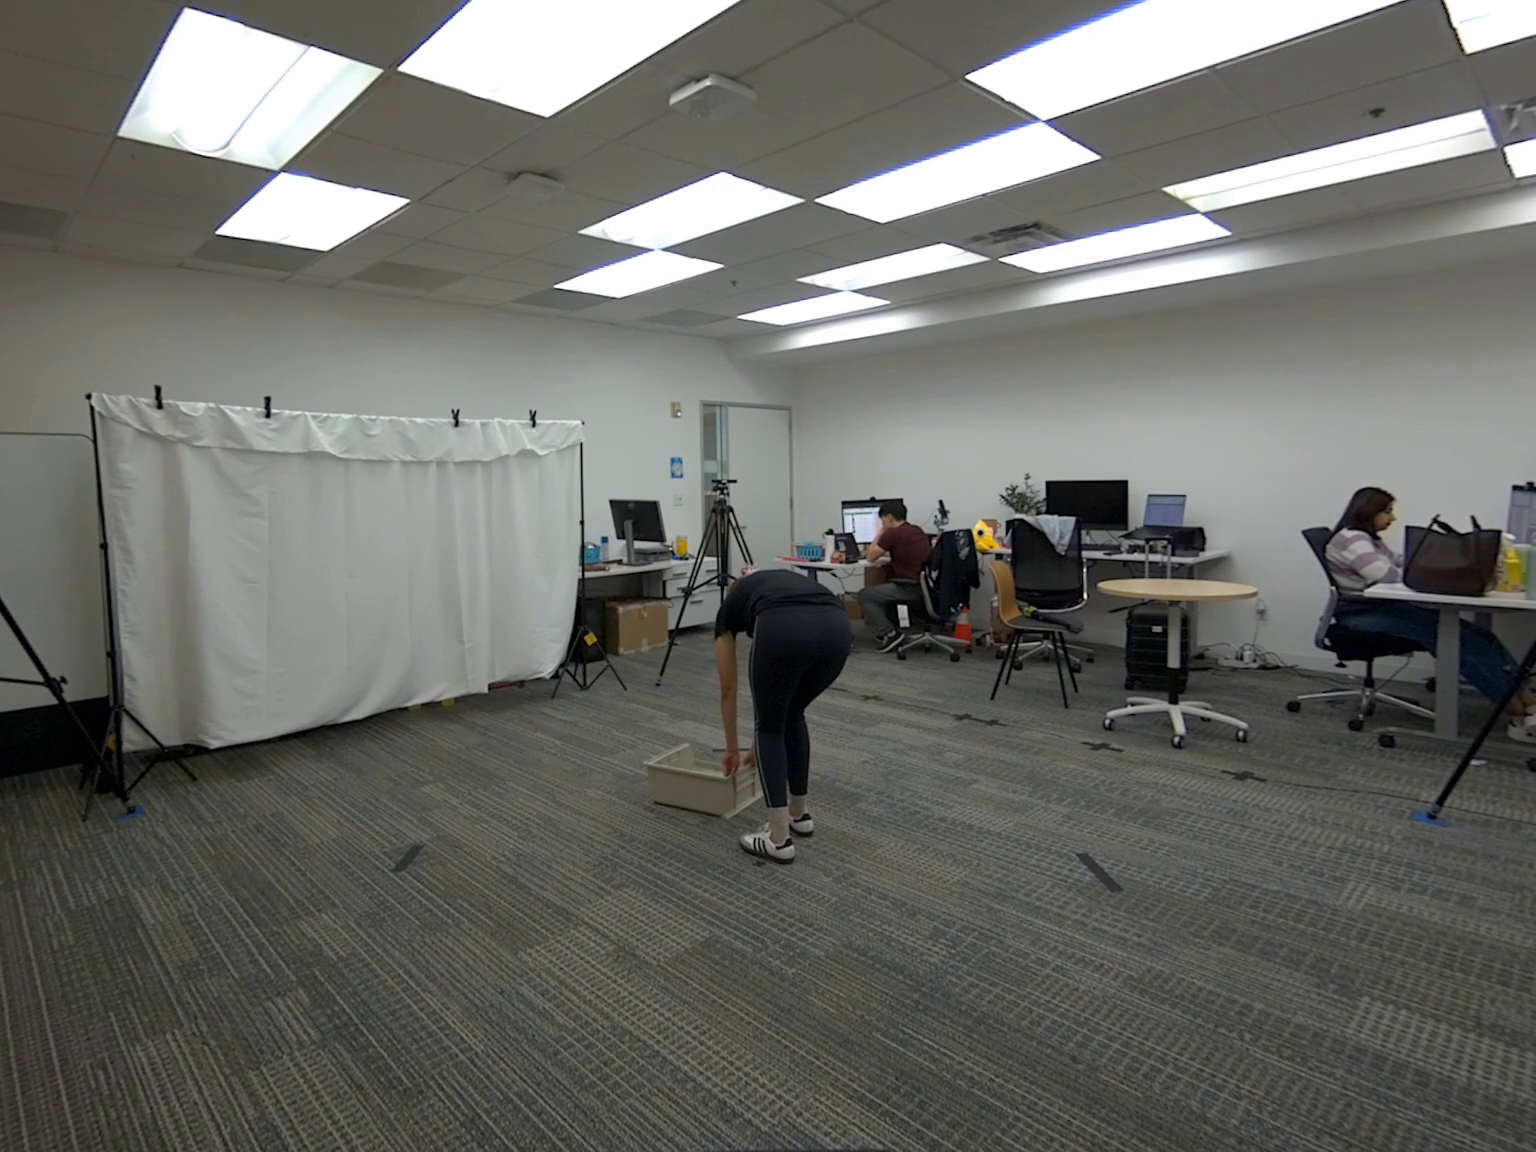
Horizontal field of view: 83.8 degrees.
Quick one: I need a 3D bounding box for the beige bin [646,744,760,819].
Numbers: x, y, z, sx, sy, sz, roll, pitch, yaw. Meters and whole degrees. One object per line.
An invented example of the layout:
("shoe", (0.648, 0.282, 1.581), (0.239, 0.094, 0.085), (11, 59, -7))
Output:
("beige bin", (-0.265, 0.891, 3.771), (0.433, 0.188, 0.369), (3, 8, 30))
